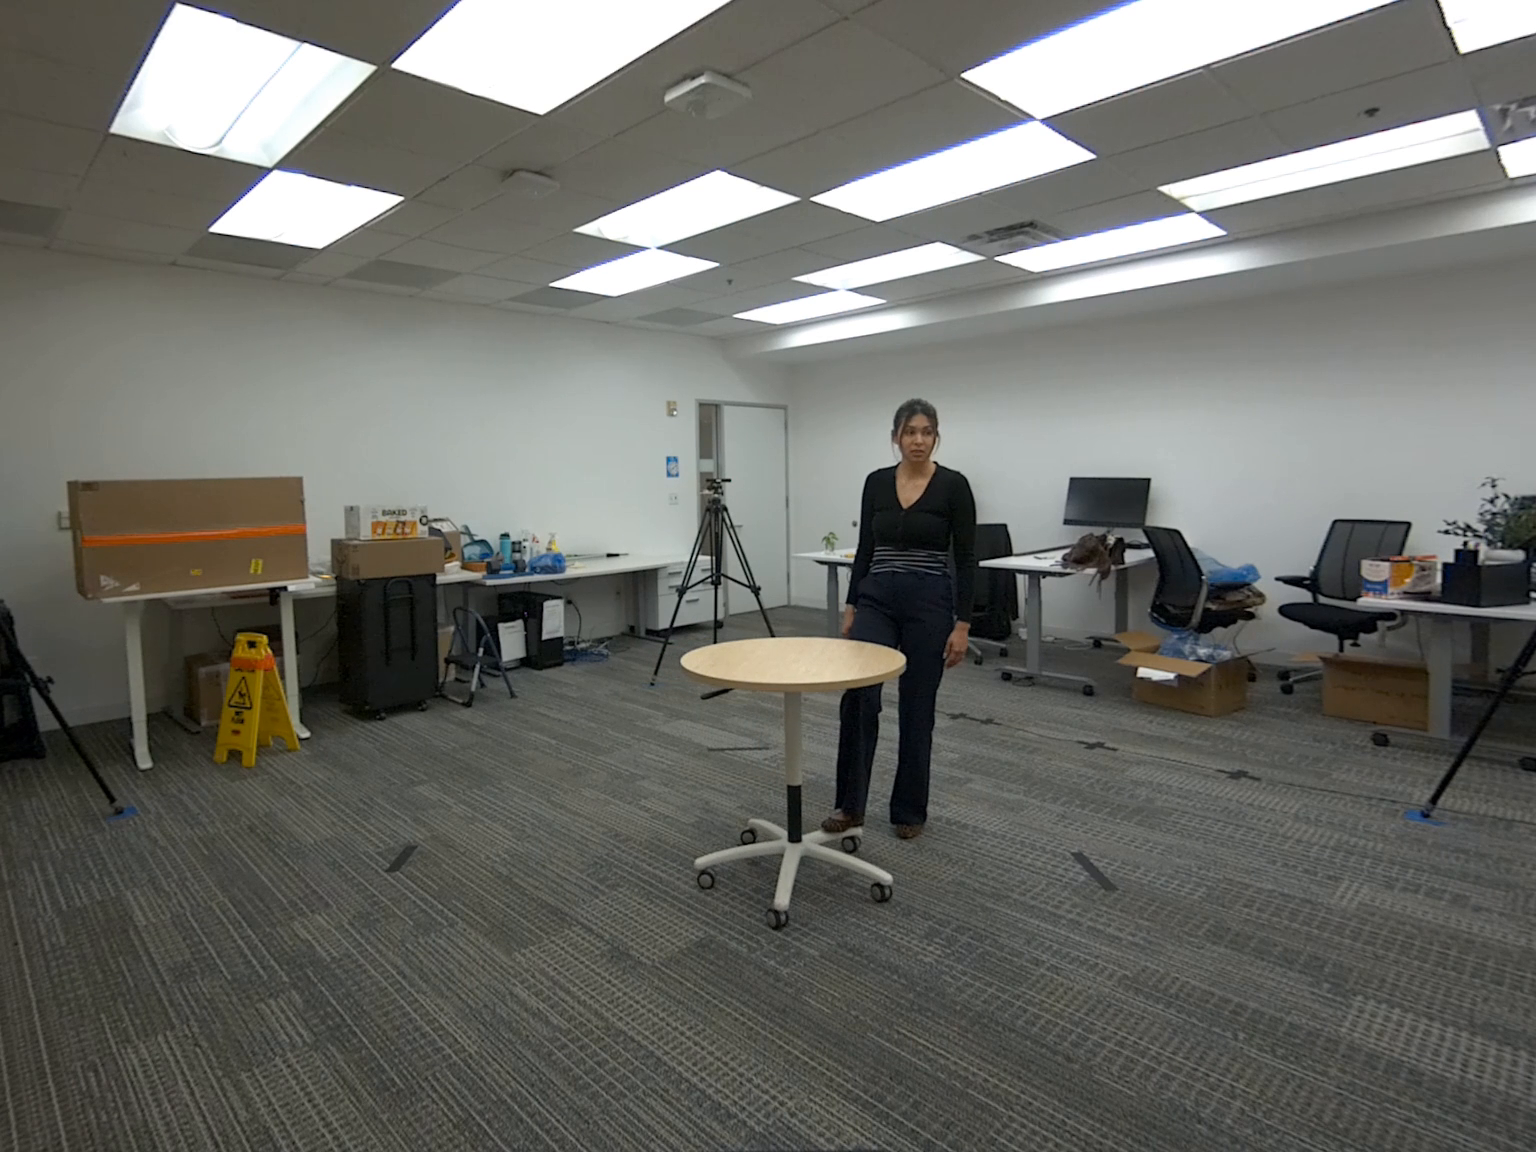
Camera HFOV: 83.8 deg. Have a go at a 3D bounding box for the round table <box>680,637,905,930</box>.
[{"bbox_3d":[0.087,0.673,2.945,0.763,0.791,0.768,-1,4,-2],"label":"round table"}]
